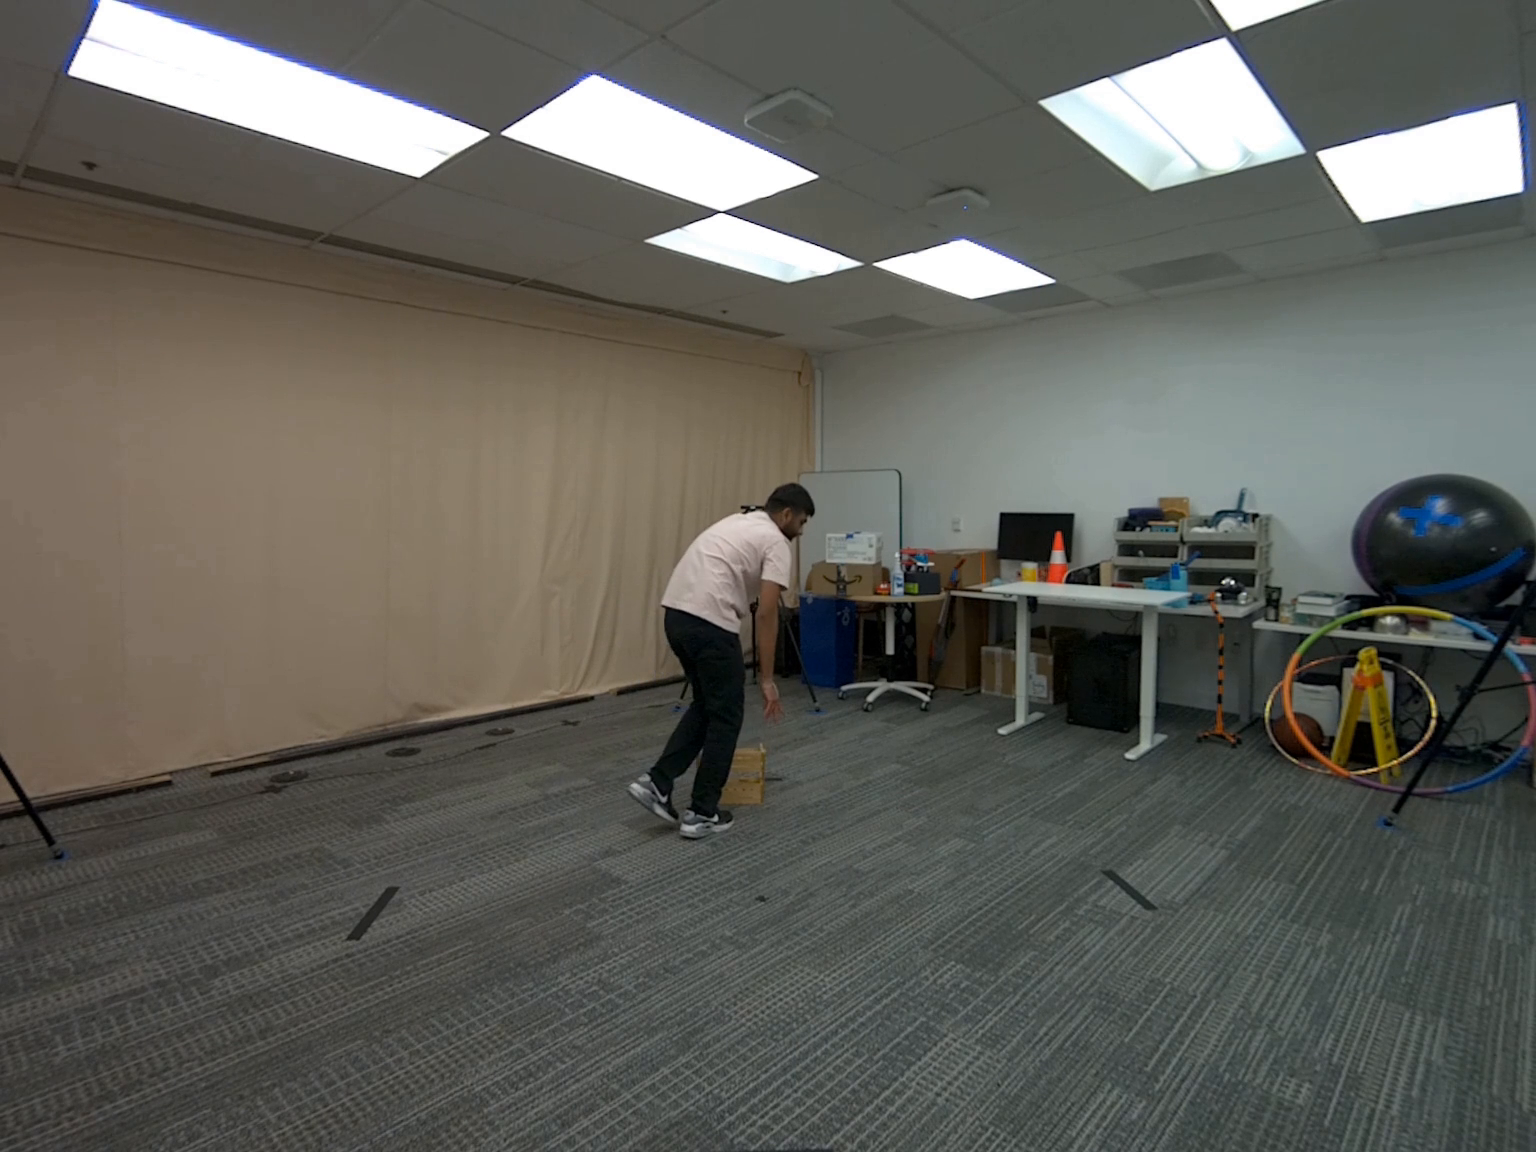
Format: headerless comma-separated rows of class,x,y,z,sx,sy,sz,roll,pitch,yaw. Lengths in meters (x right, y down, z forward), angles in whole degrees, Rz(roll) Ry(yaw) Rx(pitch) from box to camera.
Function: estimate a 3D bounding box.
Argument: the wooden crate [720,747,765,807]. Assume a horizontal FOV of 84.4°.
wooden crate,-0.182,0.930,4.048,0.324,0.273,0.302,-1,2,-1
